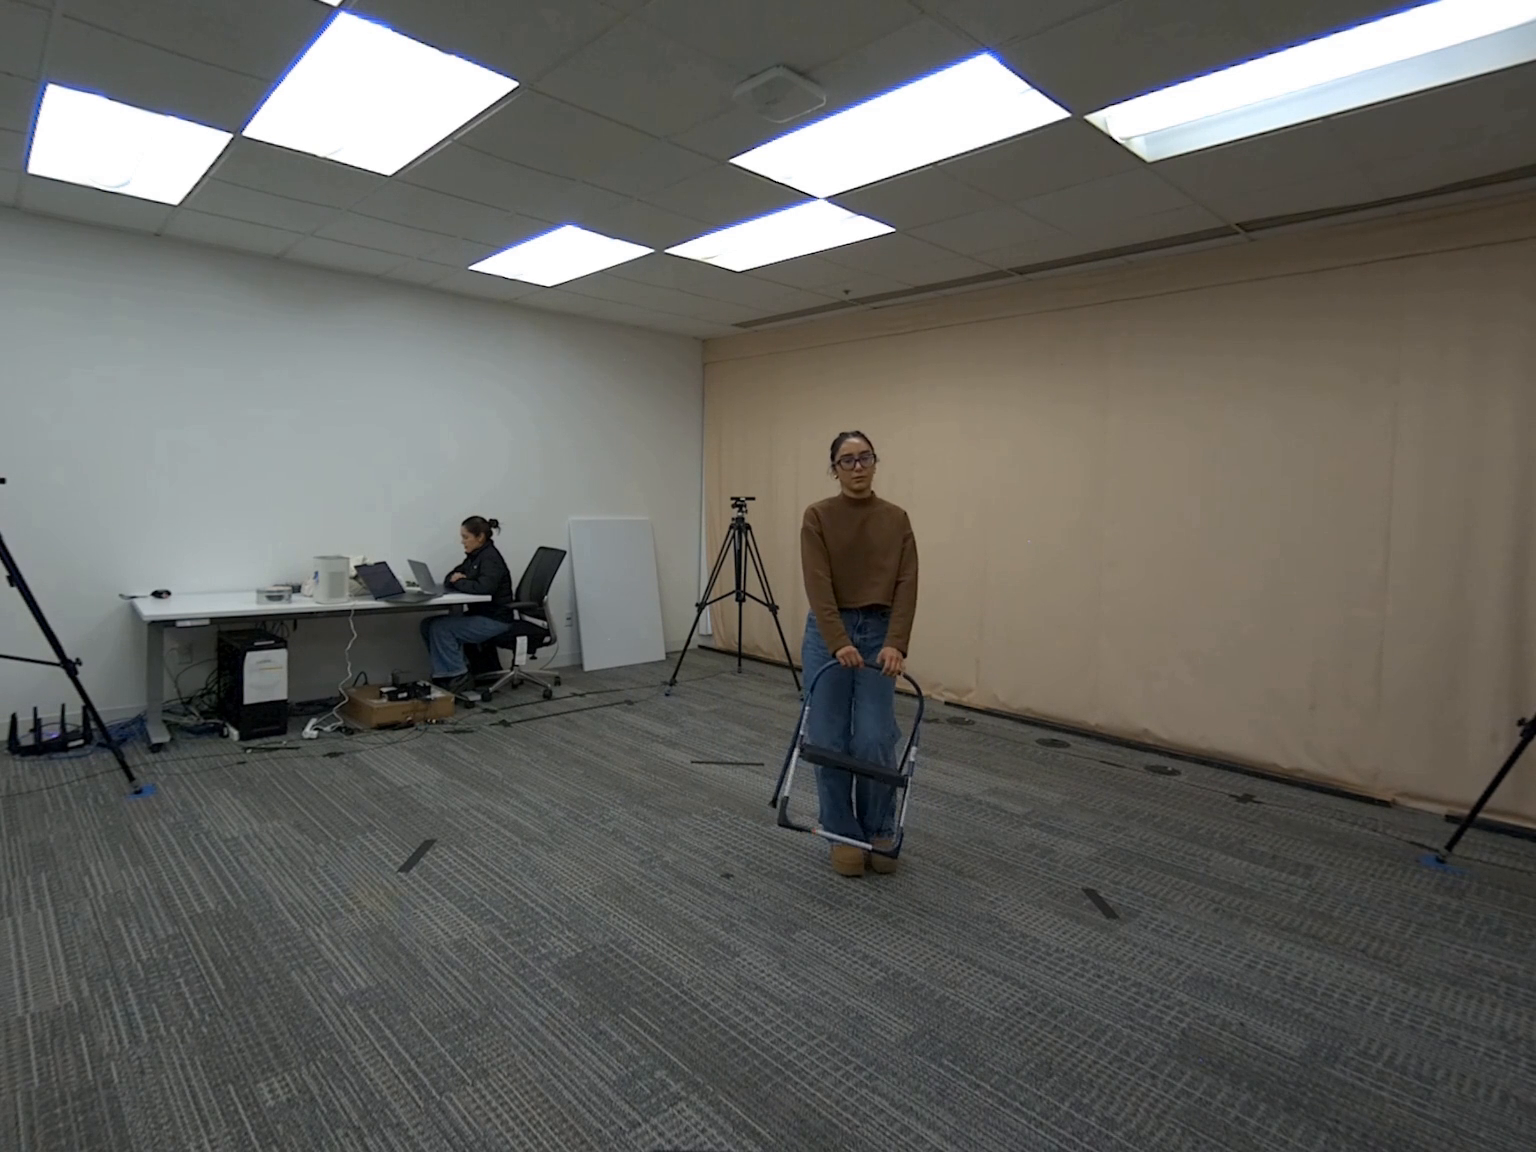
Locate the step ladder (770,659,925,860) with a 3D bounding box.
[{"bbox_3d":[0.297,0.606,2.960,0.430,0.608,0.349,16,-6,-2],"label":"step ladder"}]
